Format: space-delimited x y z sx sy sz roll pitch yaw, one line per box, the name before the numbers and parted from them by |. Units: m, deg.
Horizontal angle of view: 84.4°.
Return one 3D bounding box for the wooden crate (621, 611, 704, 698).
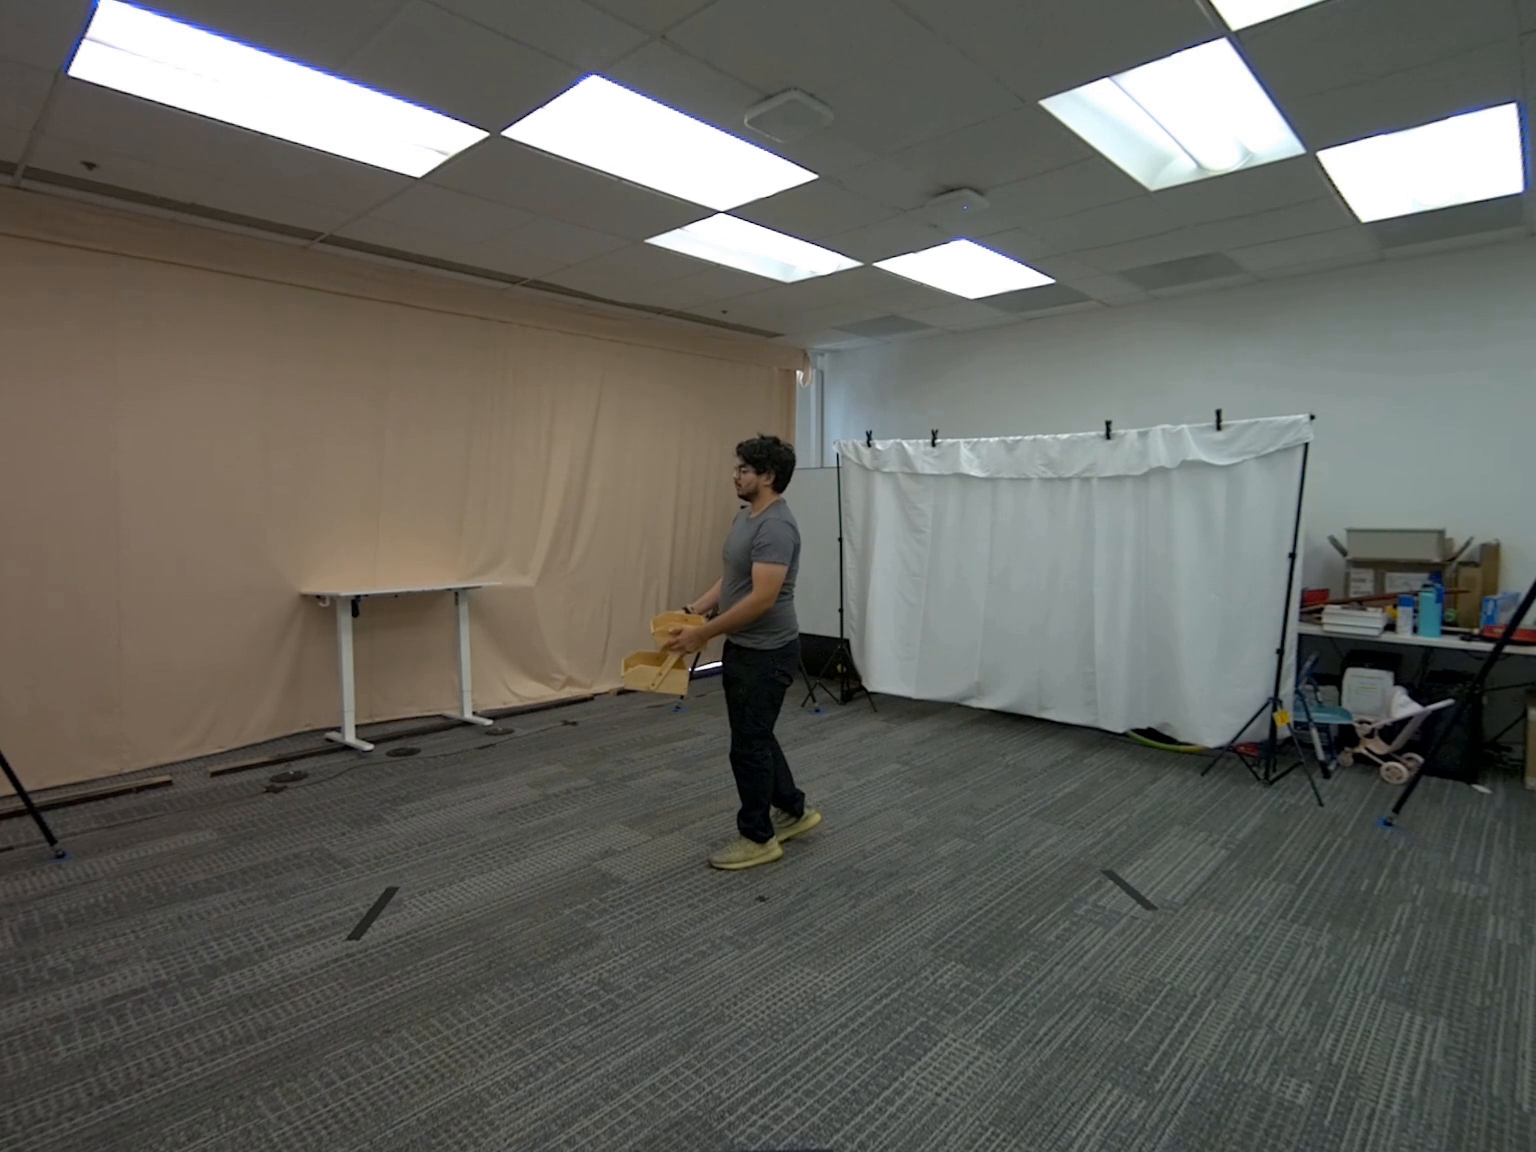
wooden crate | -0.399 0.285 3.262 0.300 0.273 0.327 8 3 -8
